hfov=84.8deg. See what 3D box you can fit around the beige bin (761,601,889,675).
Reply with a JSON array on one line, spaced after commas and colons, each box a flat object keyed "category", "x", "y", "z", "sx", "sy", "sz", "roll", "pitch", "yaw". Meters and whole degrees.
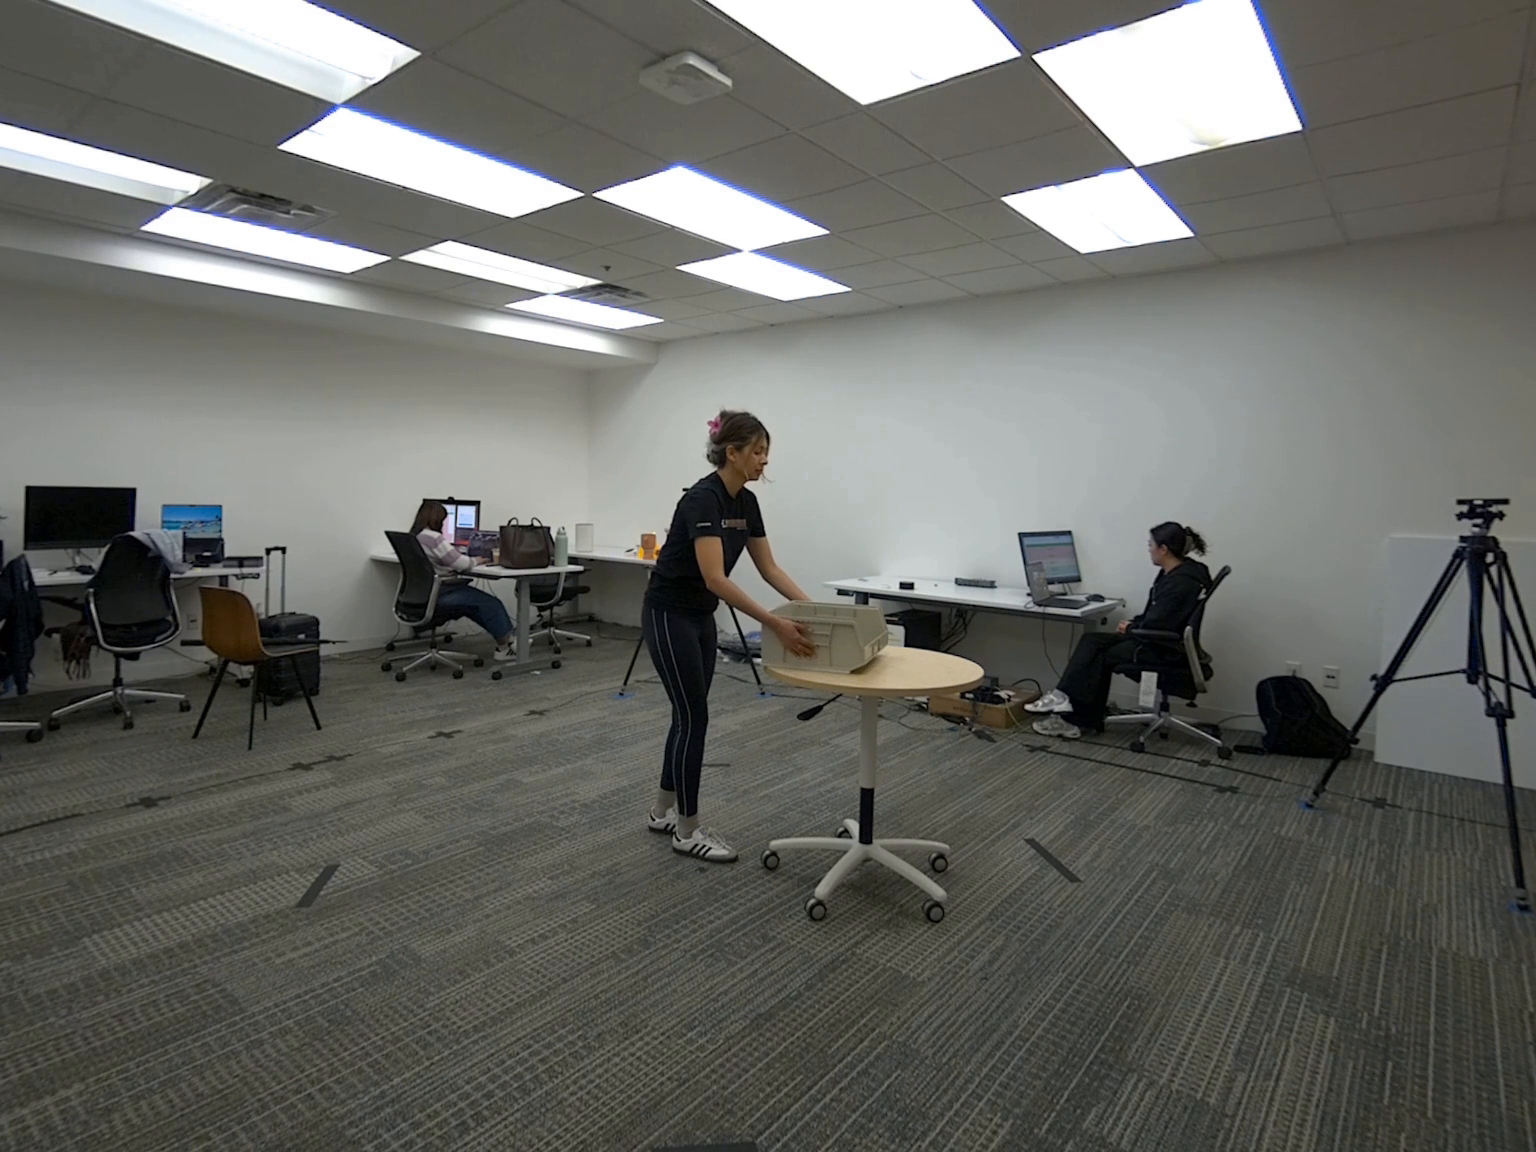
[{"category": "beige bin", "x": 0.218, "y": 0.214, "z": 3.058, "sx": 0.386, "sy": 0.188, "sz": 0.415, "roll": 0, "pitch": 5, "yaw": 21}]
